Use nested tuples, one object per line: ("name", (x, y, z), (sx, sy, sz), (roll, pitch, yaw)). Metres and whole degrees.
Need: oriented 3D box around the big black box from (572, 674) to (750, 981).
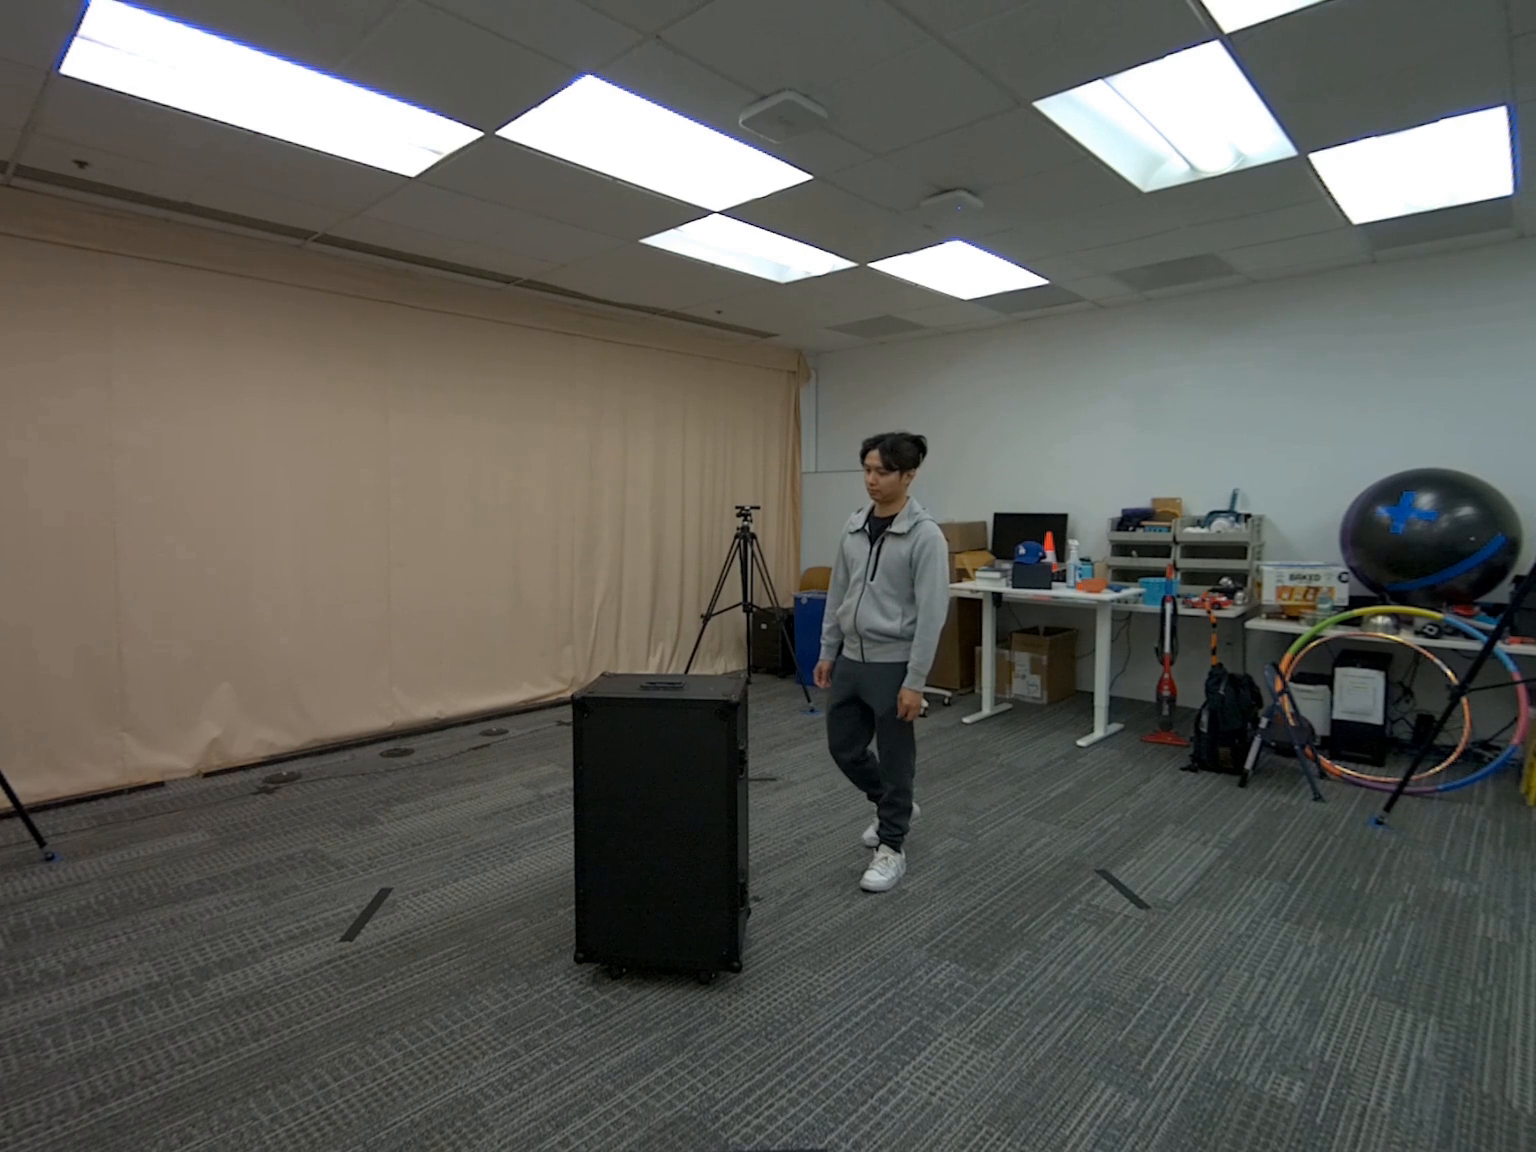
("big black box", (-0.315, 0.754, 2.580), (0.525, 0.861, 0.393), (0, 1, 7))
